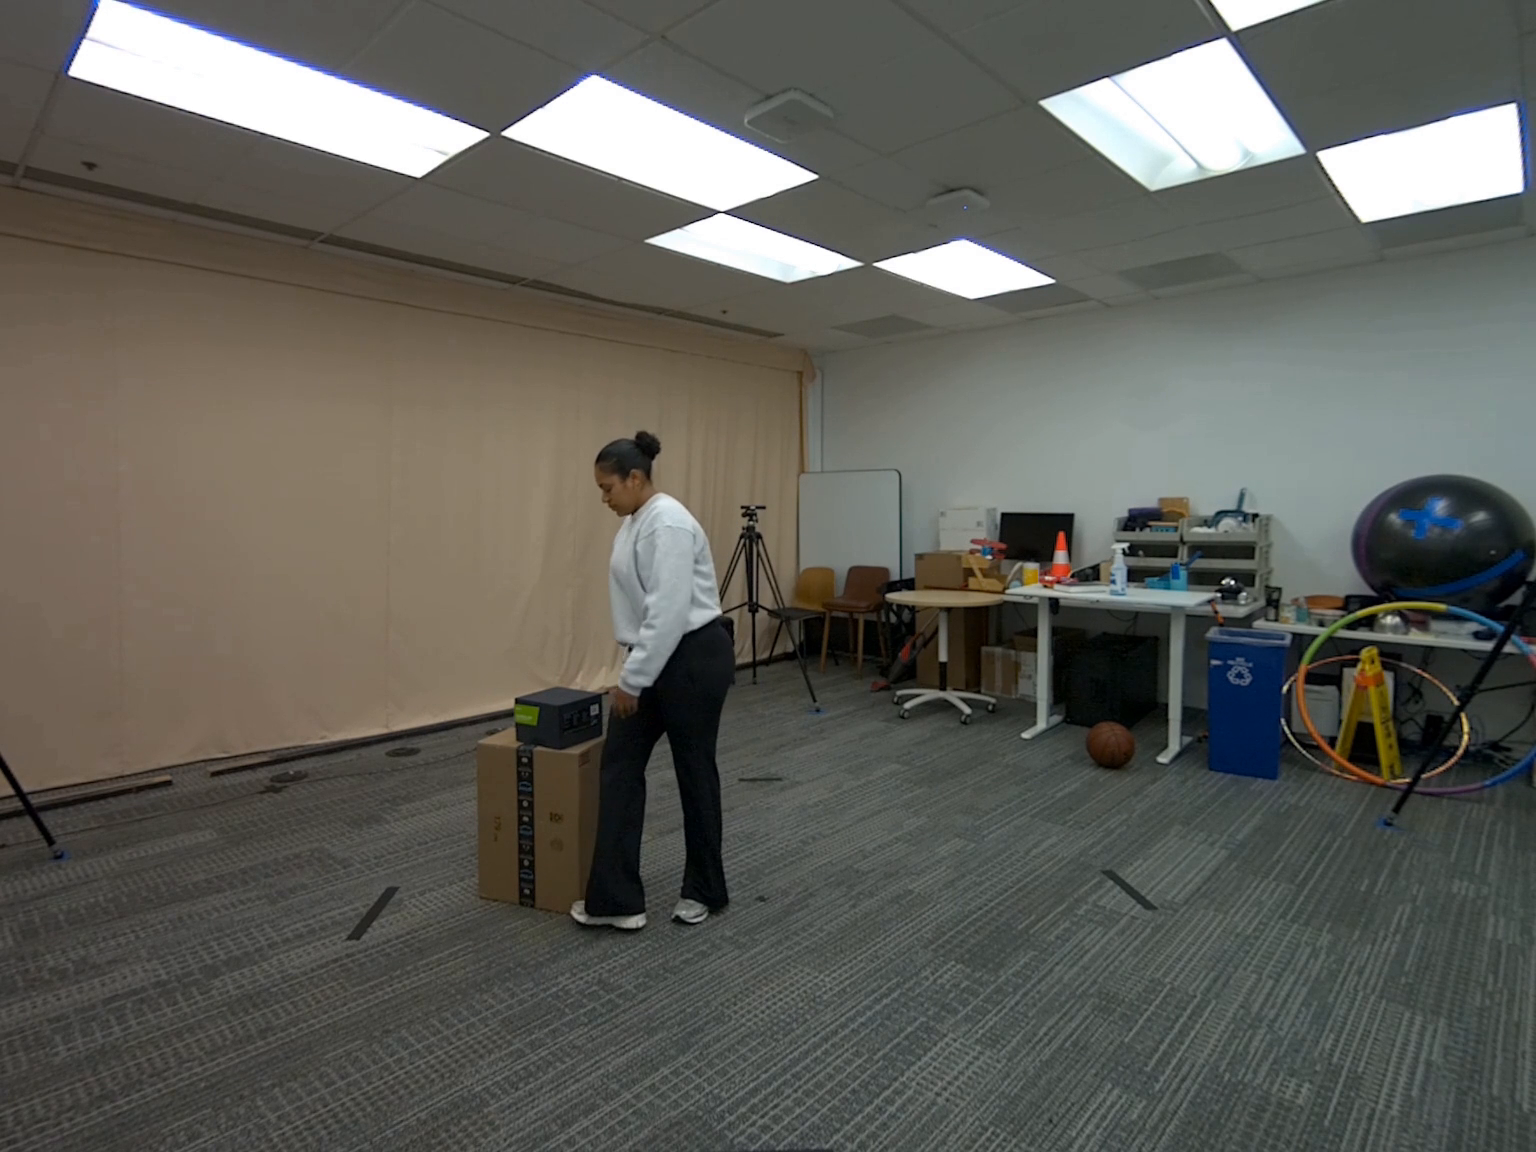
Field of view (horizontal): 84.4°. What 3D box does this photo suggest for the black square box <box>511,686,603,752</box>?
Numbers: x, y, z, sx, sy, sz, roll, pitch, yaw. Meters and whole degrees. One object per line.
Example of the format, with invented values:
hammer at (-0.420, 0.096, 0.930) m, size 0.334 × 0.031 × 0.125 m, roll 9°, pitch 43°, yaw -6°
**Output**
black square box at (-0.750, 0.502, 3.014) m, size 0.235 × 0.155 × 0.211 m, roll 2°, pitch 5°, yaw 33°
